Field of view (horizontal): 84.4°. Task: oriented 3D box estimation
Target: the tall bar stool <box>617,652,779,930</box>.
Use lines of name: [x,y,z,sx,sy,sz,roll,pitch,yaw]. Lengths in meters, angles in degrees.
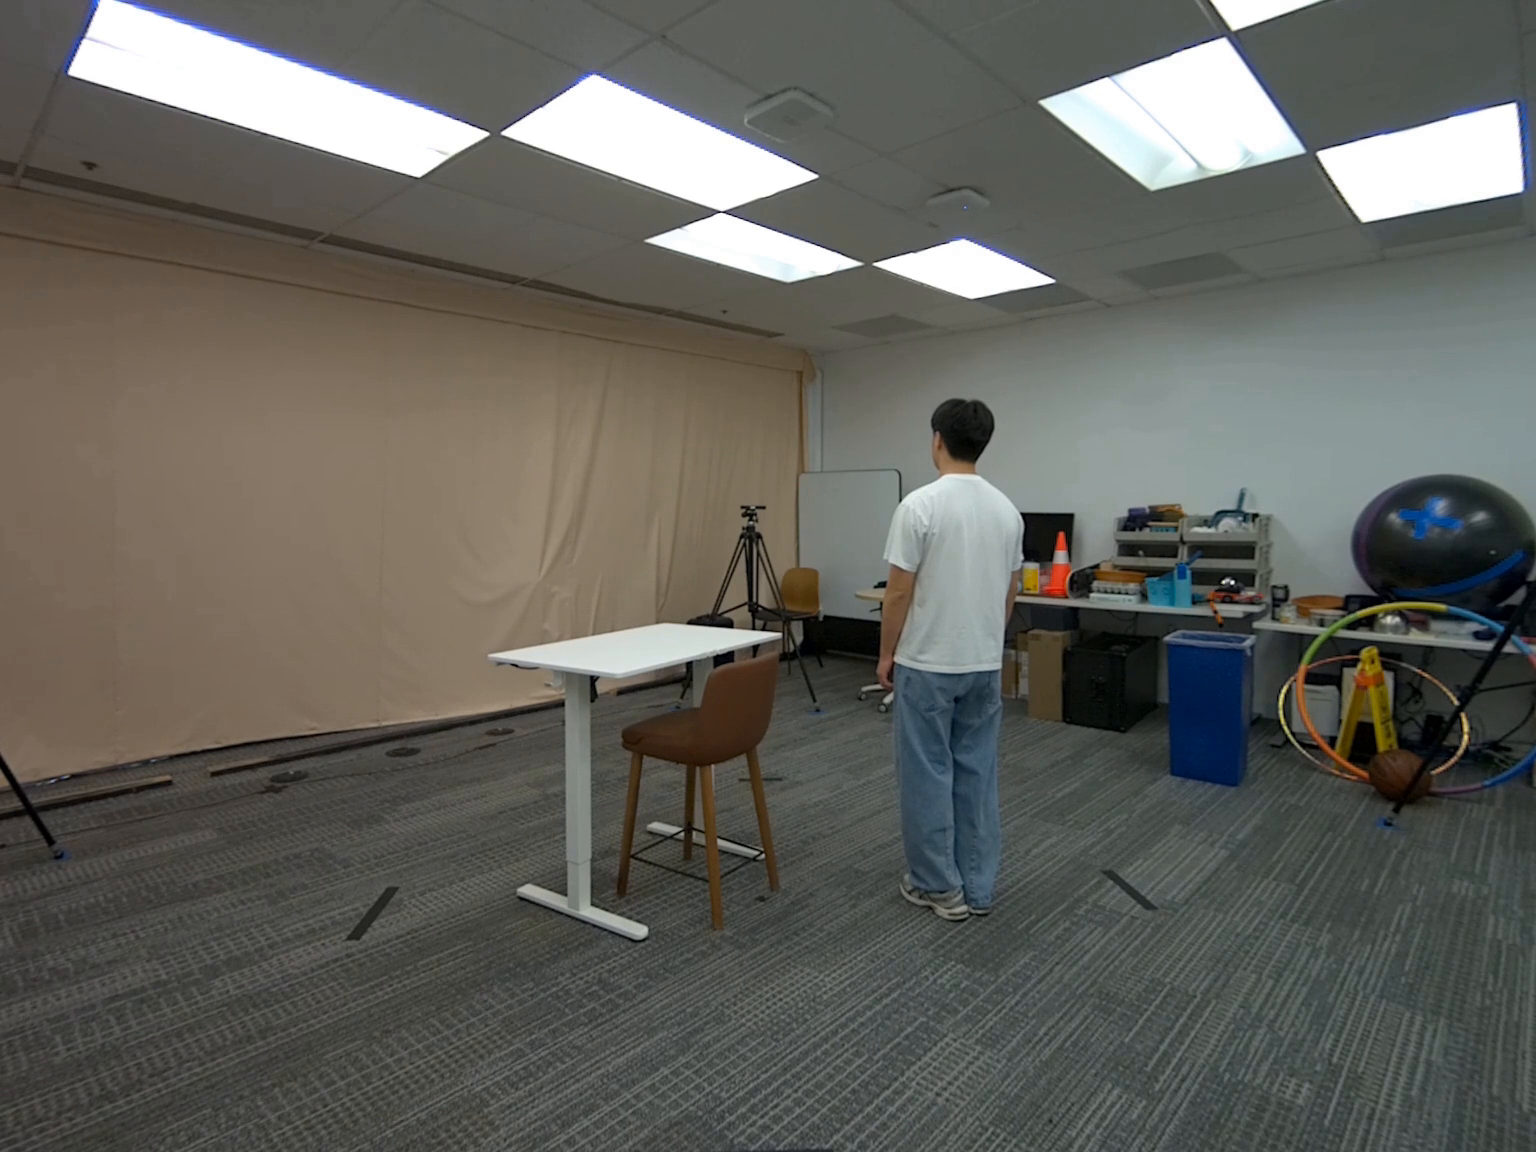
tall bar stool: [-0.233,0.714,3.020,0.483,0.887,0.443,7,7,37]
